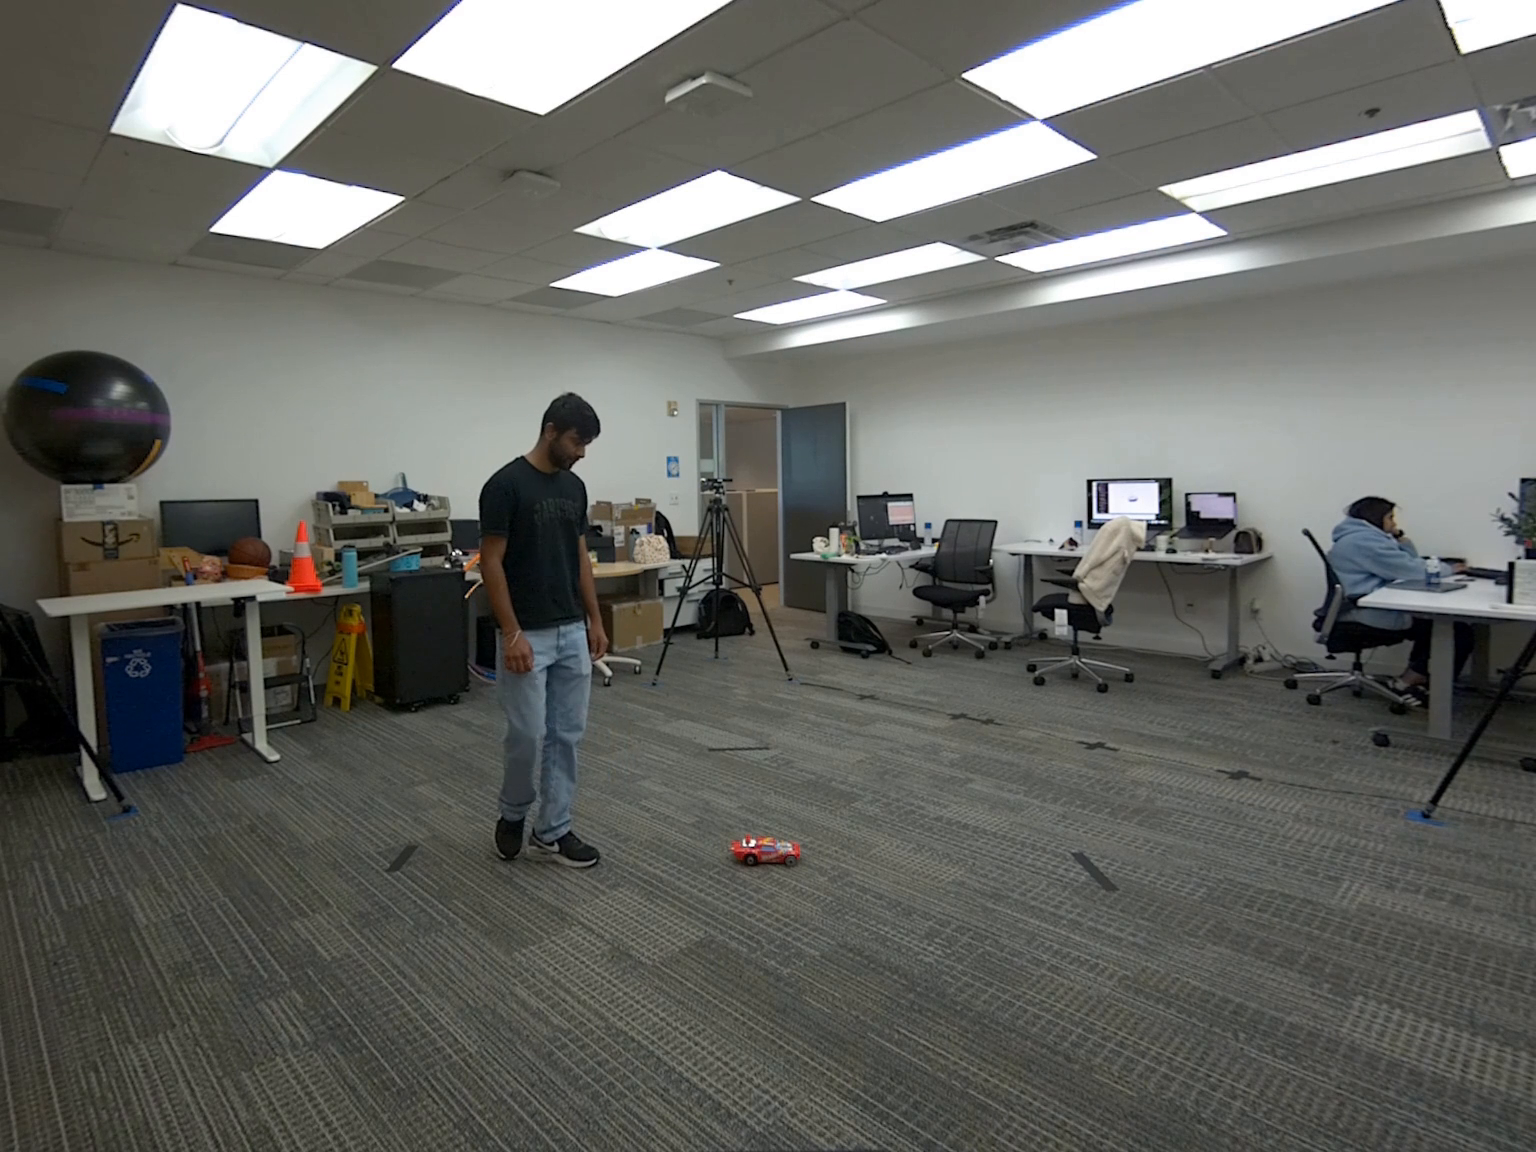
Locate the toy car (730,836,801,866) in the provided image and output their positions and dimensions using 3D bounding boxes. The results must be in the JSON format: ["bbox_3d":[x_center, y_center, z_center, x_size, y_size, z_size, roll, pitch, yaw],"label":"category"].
[{"bbox_3d":[-0.015,1.004,3.121,0.256,0.083,0.130,11,6,3],"label":"toy car"}]
